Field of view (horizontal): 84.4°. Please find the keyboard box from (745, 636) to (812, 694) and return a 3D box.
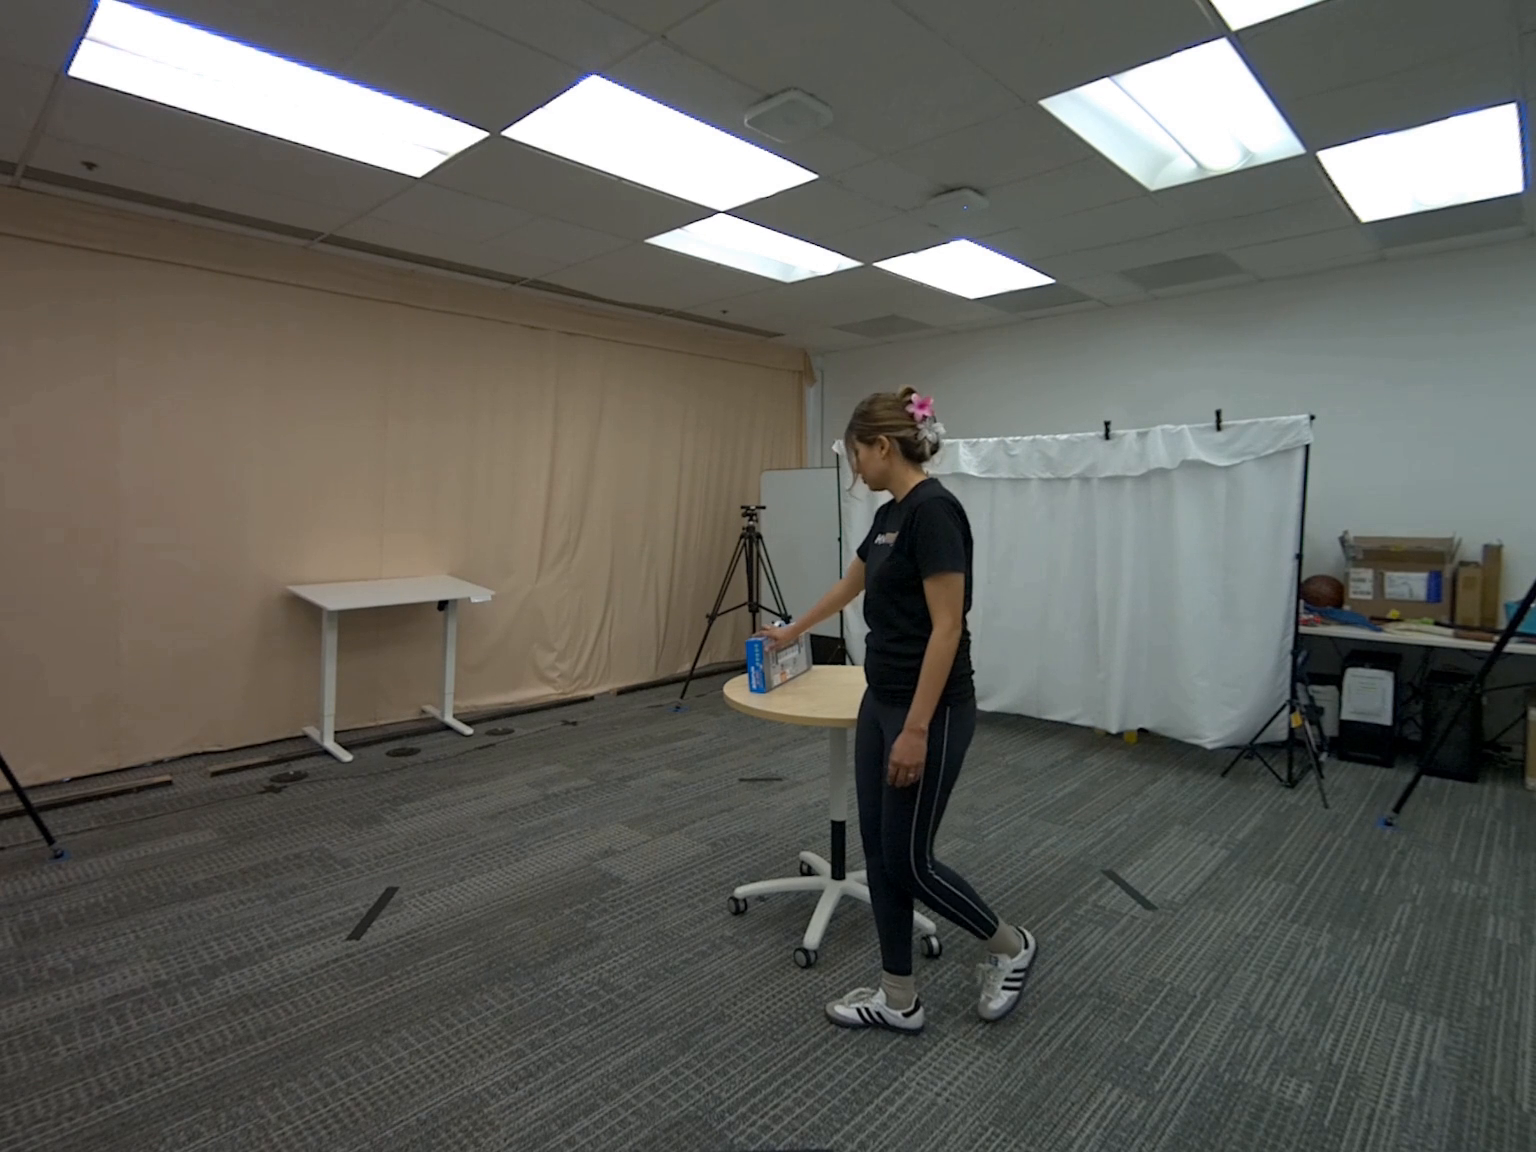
[{"bbox_3d":[0.050,0.276,2.929,0.060,0.175,0.427,-3,4,24],"label":"keyboard box"}]
